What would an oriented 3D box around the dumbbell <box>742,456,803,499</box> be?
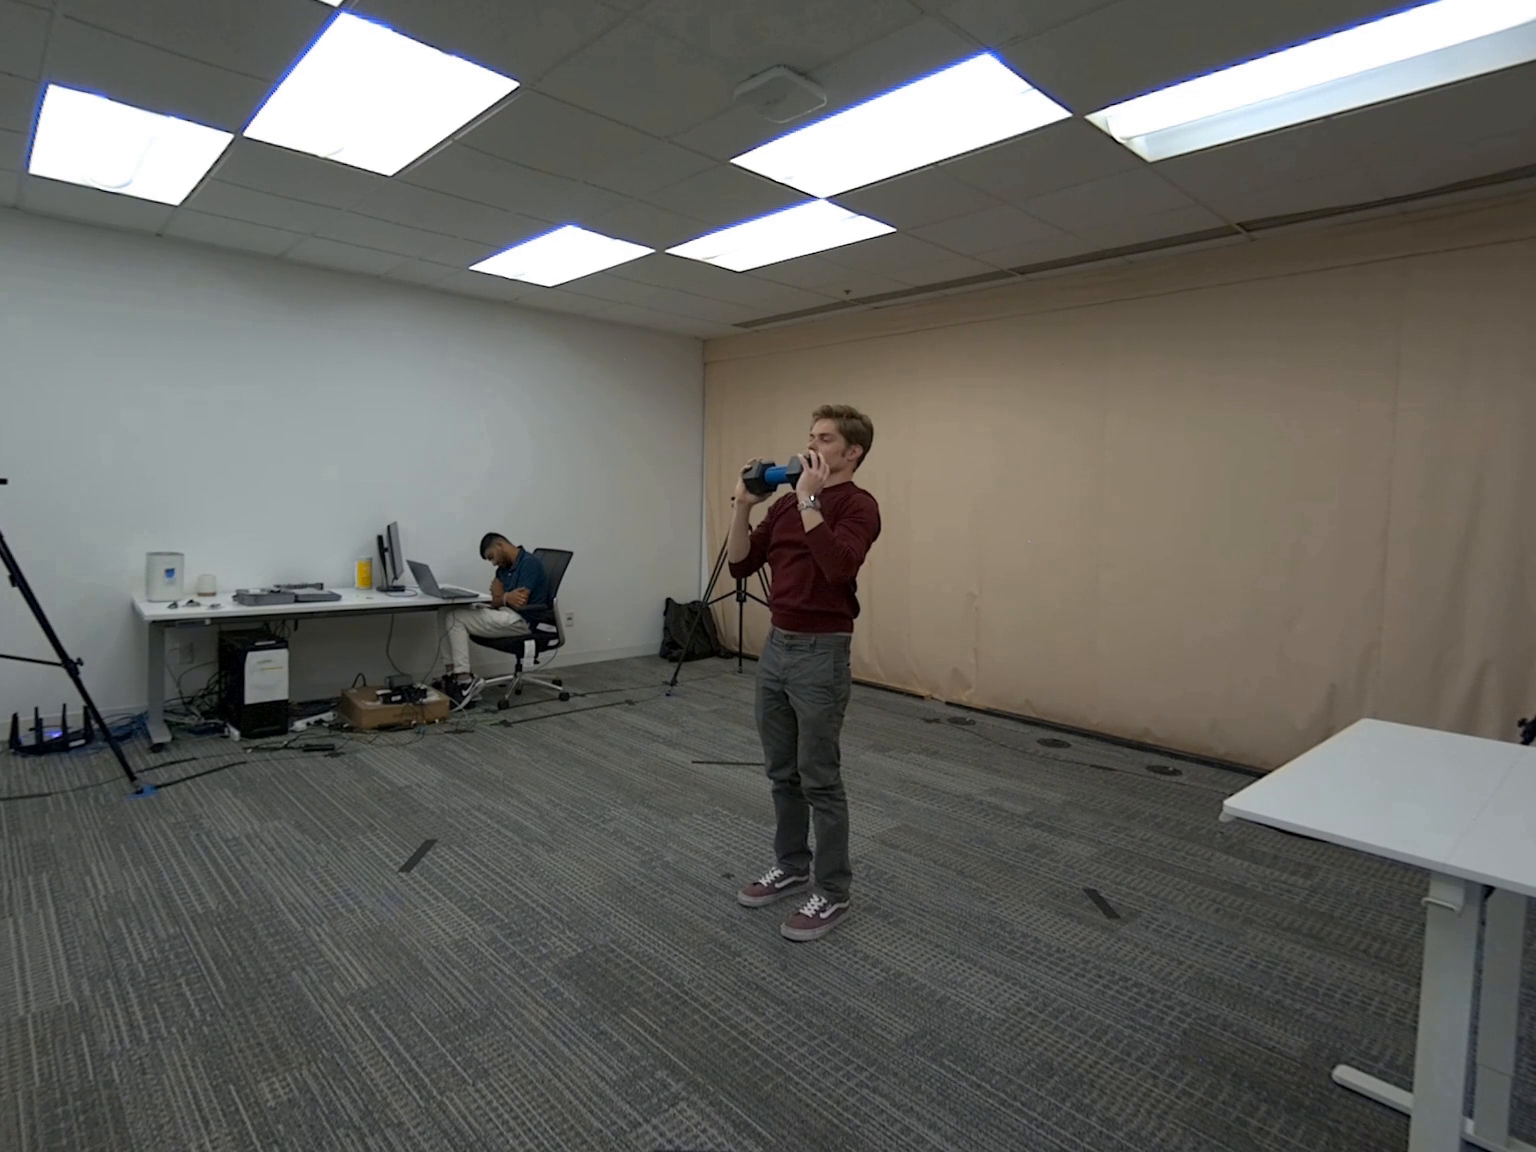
[{"bbox_3d":[0.046,-0.328,2.734,0.105,0.124,0.300,35,-21,-34],"label":"dumbbell"}]
